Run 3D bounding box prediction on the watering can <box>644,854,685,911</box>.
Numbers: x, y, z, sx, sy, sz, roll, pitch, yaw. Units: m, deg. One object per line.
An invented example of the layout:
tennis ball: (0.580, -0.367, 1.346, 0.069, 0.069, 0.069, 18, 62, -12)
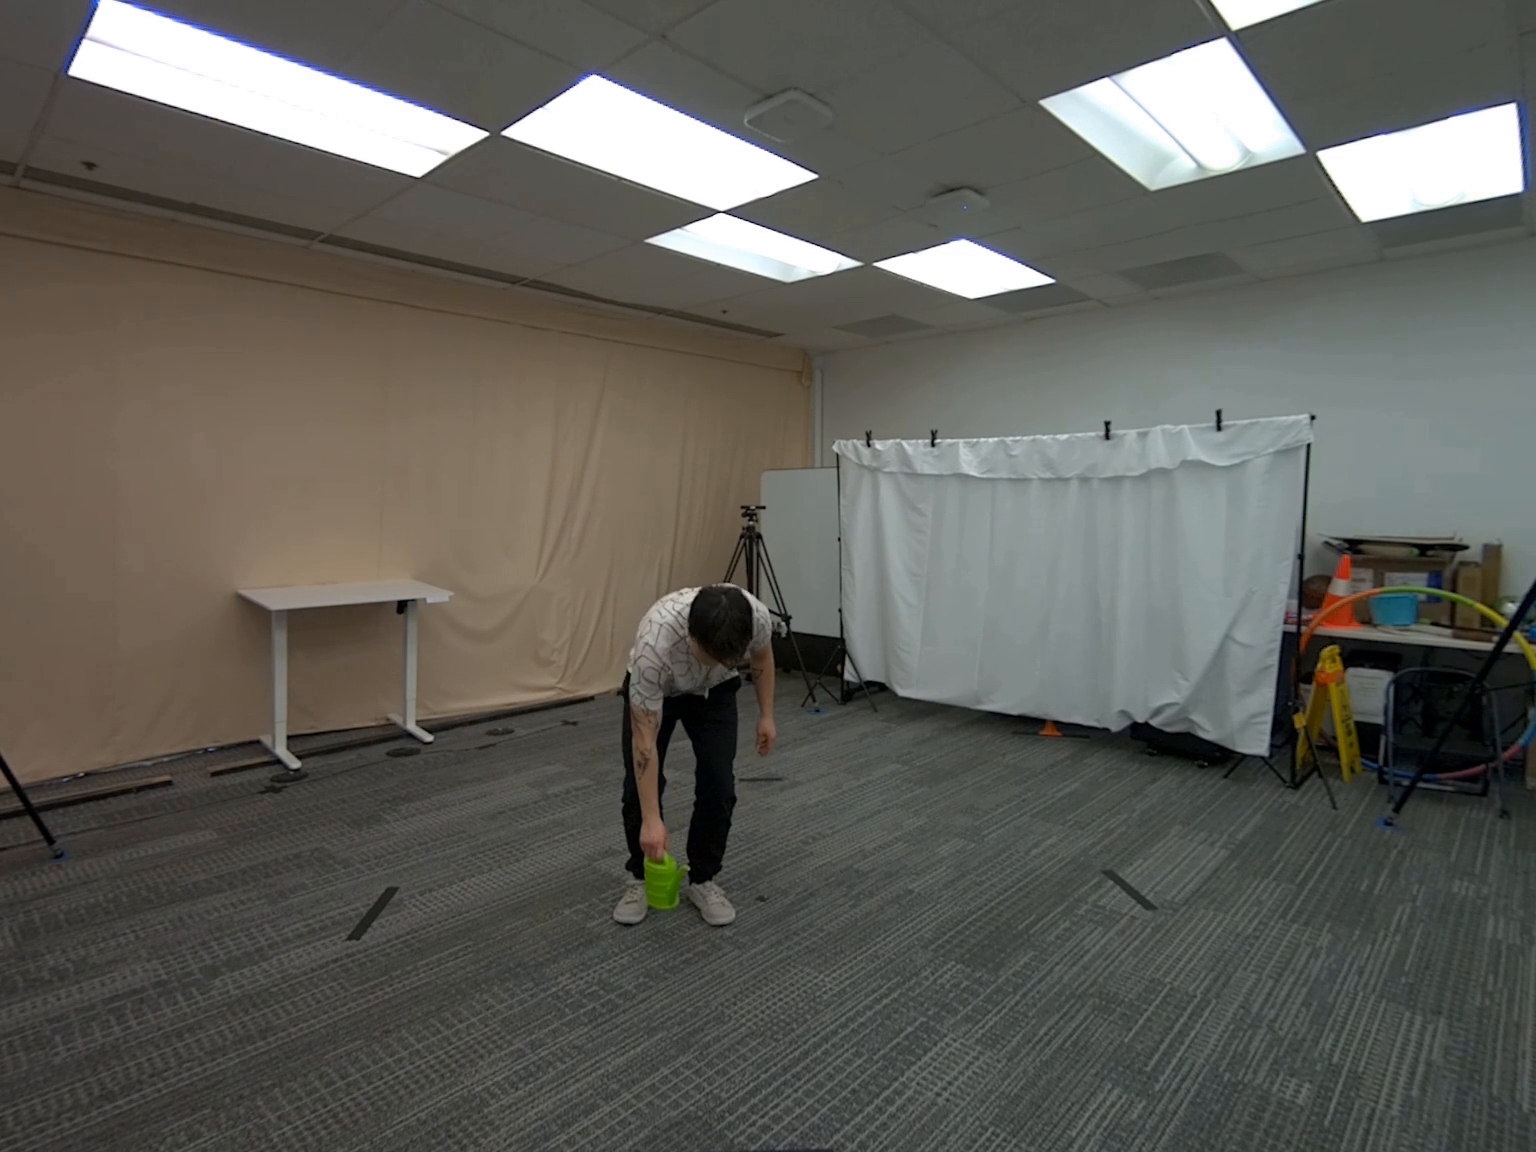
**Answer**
watering can: (-0.313, 0.918, 2.601, 0.096, 0.176, 0.283, -5, 5, -17)
